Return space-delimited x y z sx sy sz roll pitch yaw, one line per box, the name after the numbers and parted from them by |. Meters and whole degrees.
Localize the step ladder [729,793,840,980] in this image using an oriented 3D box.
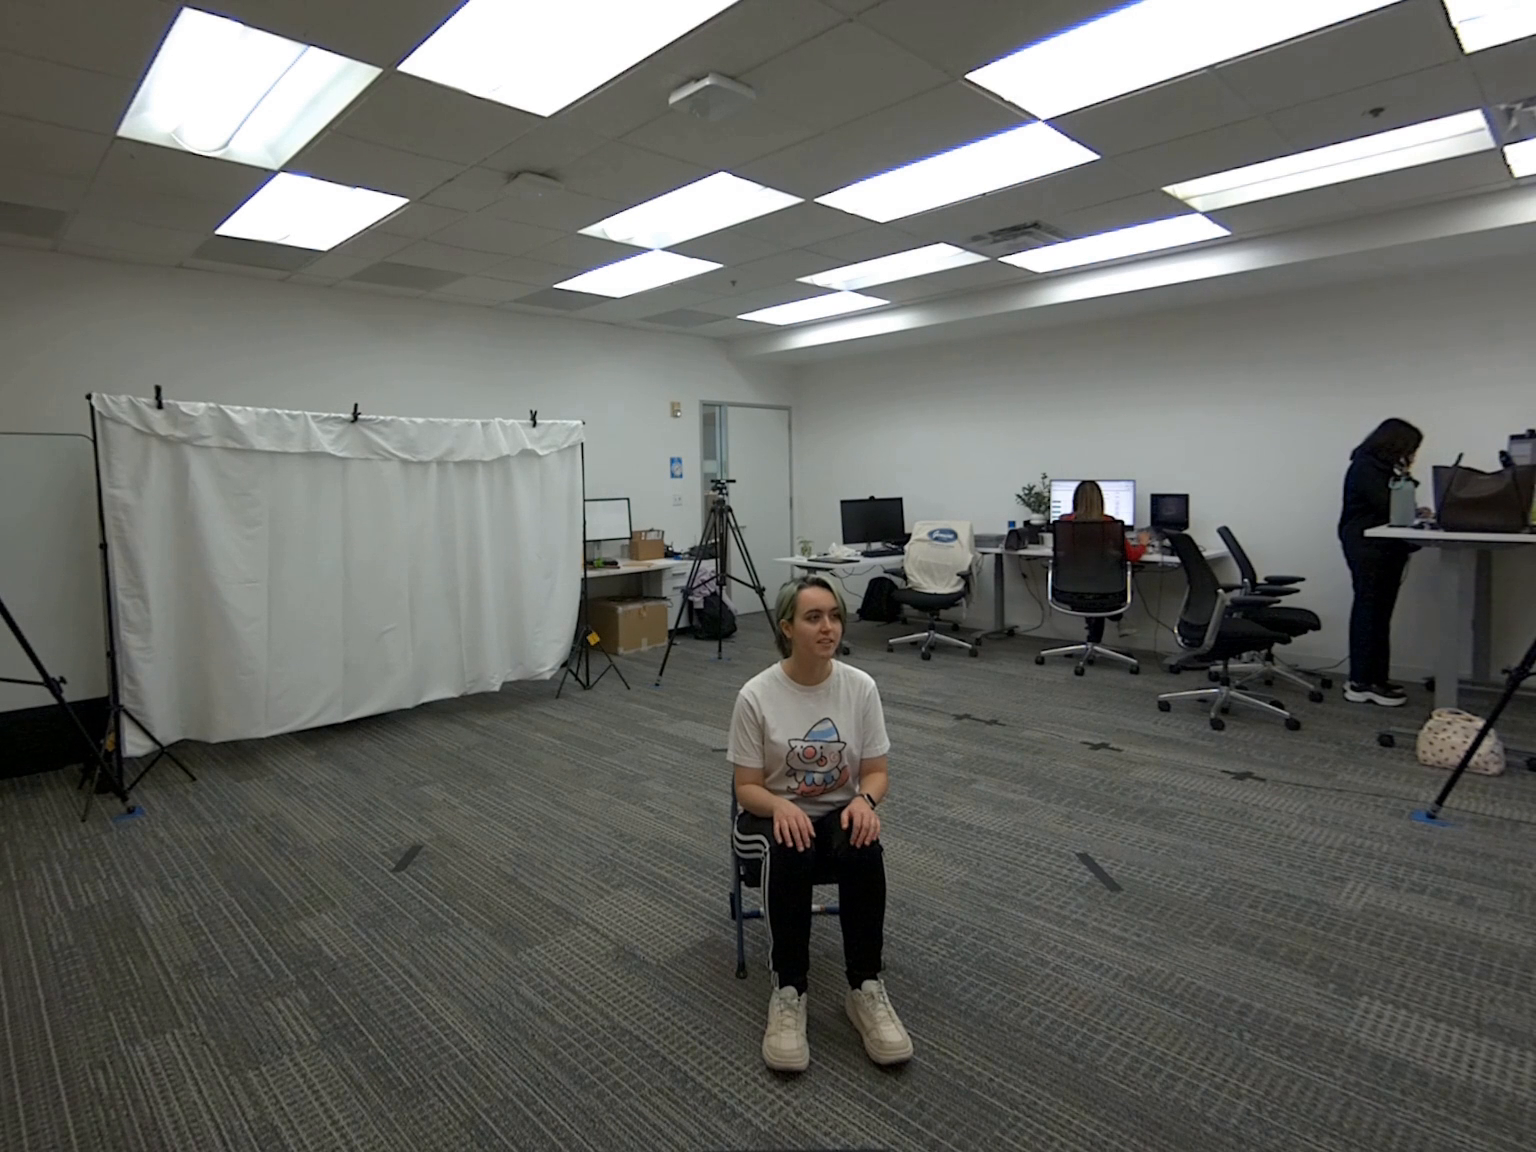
0.107 0.812 2.567 0.429 0.603 0.353 -2 5 -5 | step ladder
